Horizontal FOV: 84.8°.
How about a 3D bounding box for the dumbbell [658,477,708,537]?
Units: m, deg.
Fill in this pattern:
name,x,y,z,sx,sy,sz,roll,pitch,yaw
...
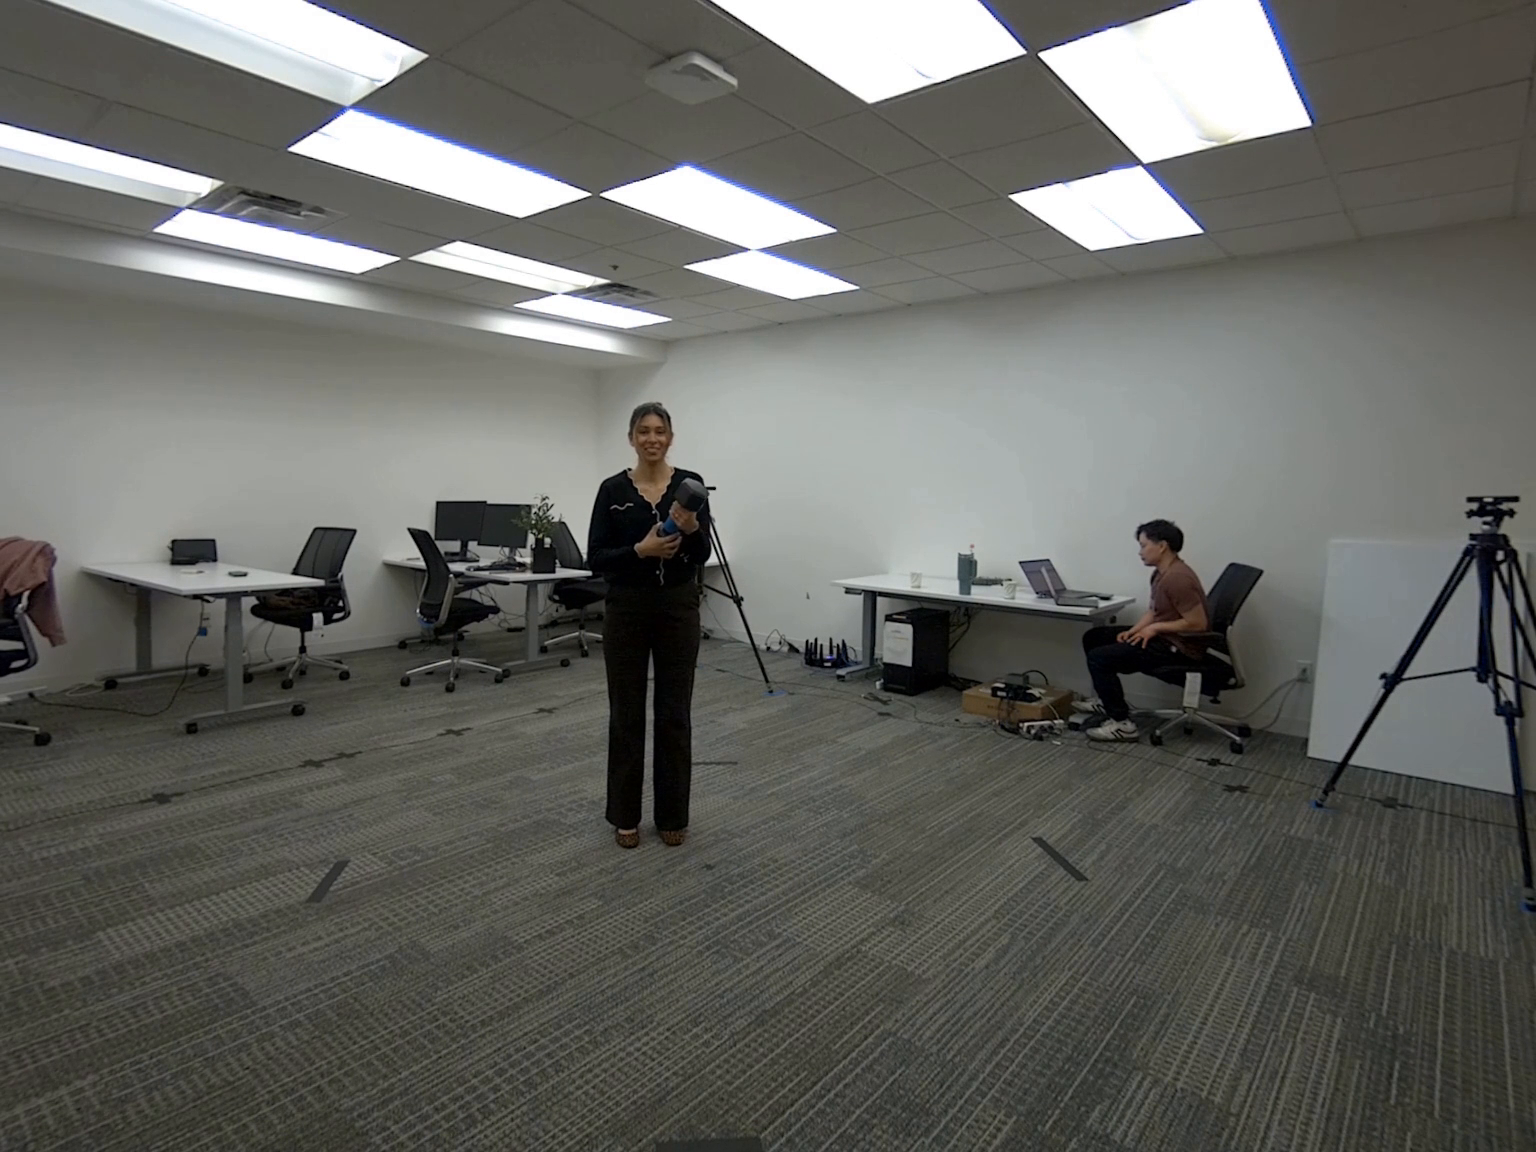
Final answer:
name,x,y,z,sx,sy,sz,roll,pitch,yaw
dumbbell,-0.348,-0.221,3.156,0.119,0.292,0.113,19,26,-29
